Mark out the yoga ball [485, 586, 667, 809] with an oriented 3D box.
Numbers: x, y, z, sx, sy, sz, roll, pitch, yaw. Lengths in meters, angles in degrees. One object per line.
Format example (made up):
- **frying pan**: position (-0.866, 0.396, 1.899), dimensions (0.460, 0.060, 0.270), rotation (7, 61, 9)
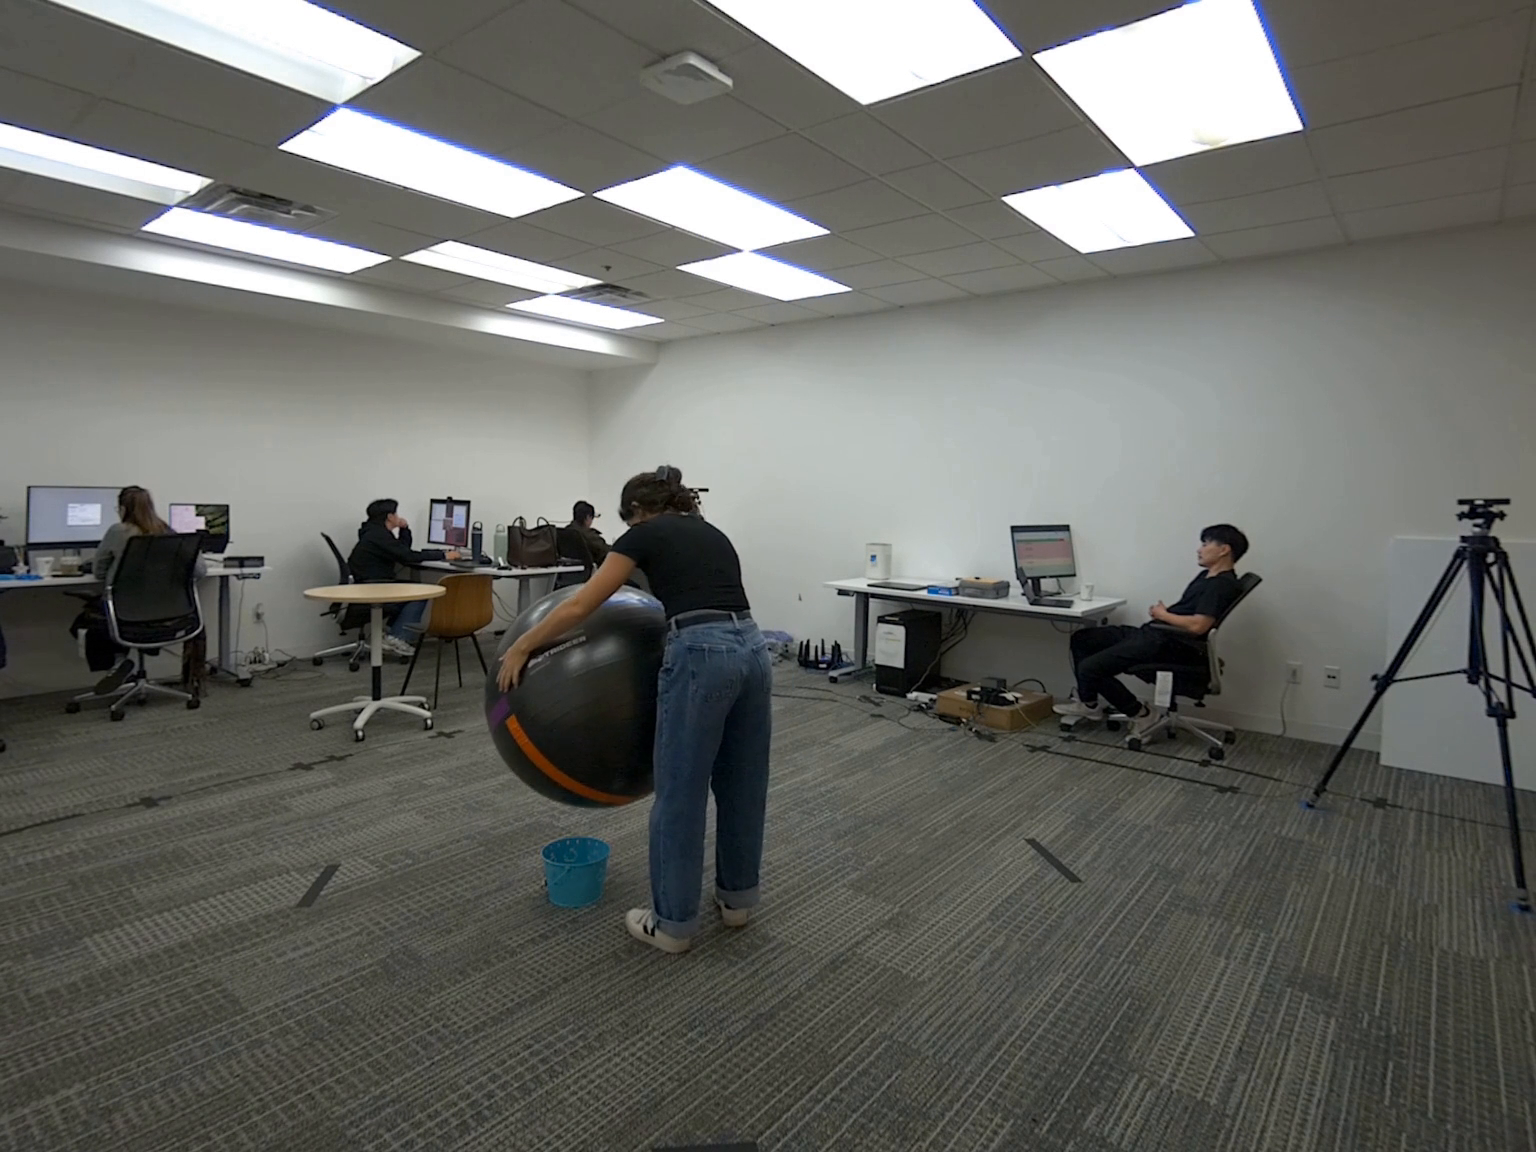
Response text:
- **yoga ball**: position (-0.588, 0.391, 2.930), dimensions (0.757, 0.755, 0.762), rotation (1, 4, -2)
